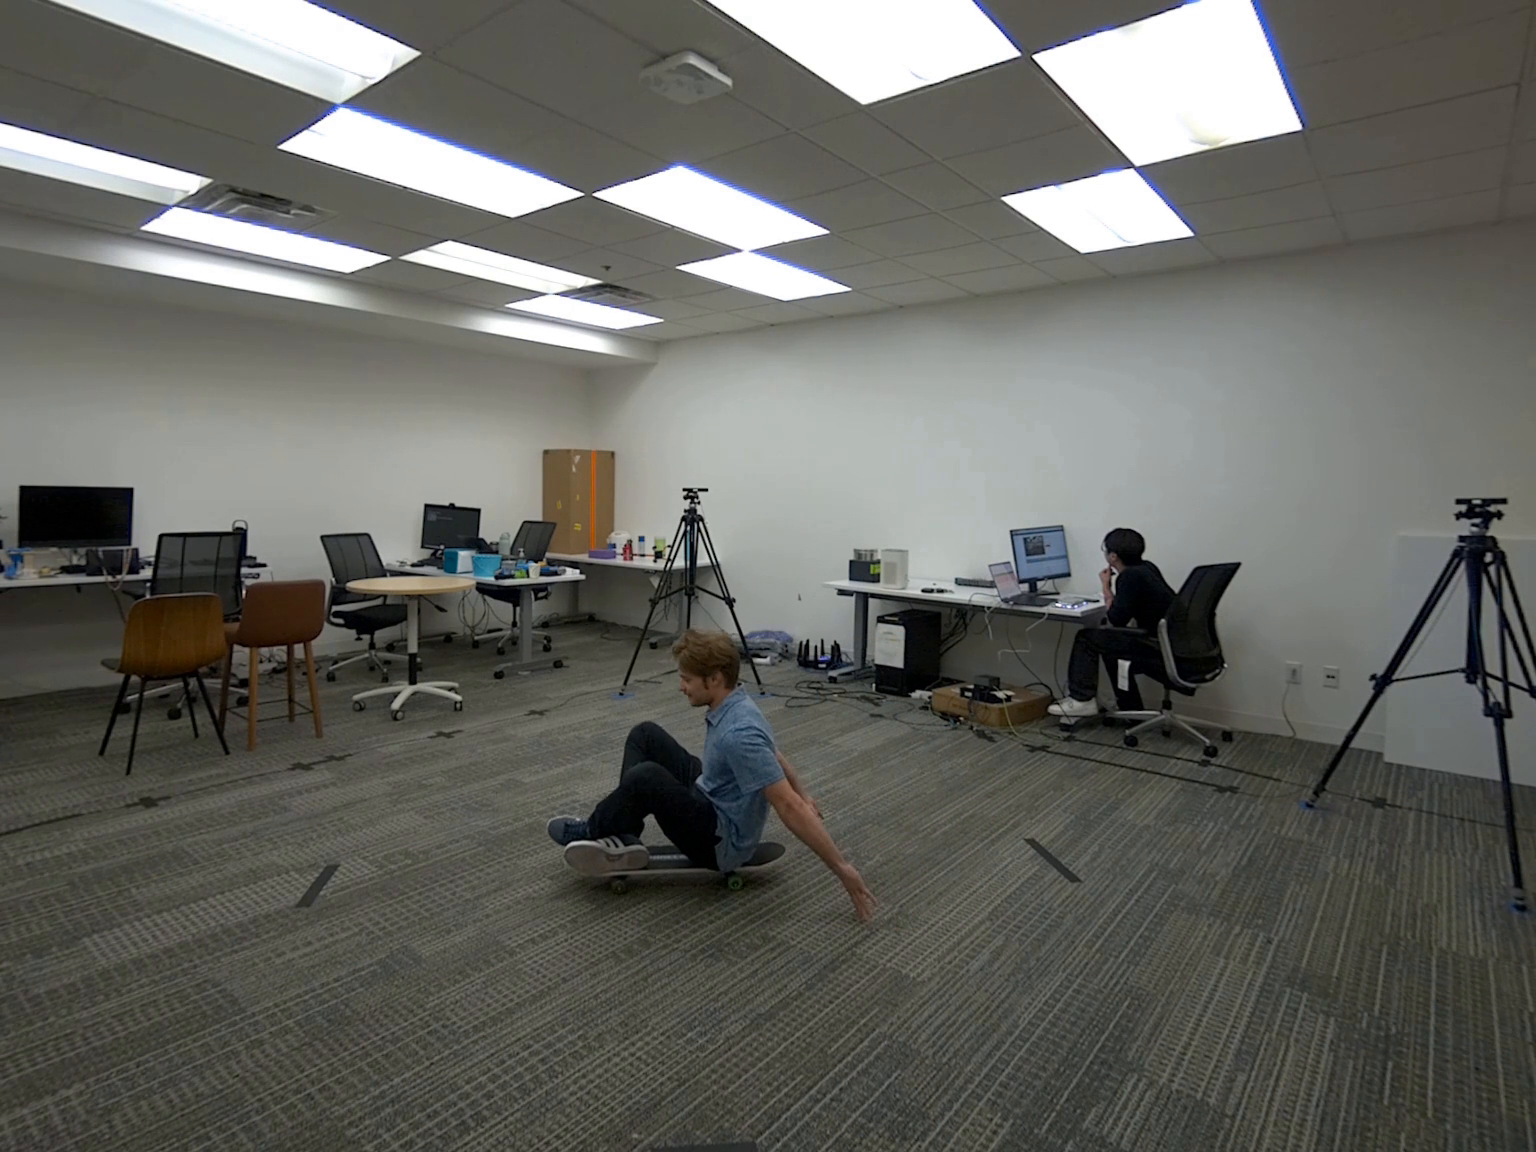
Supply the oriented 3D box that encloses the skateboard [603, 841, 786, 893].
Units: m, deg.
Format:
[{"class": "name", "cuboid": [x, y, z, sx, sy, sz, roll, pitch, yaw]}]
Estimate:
[{"class": "skateboard", "cuboid": [-0.341, 1.028, 3.000, 0.779, 0.110, 0.196, 1, 6, -7]}]
